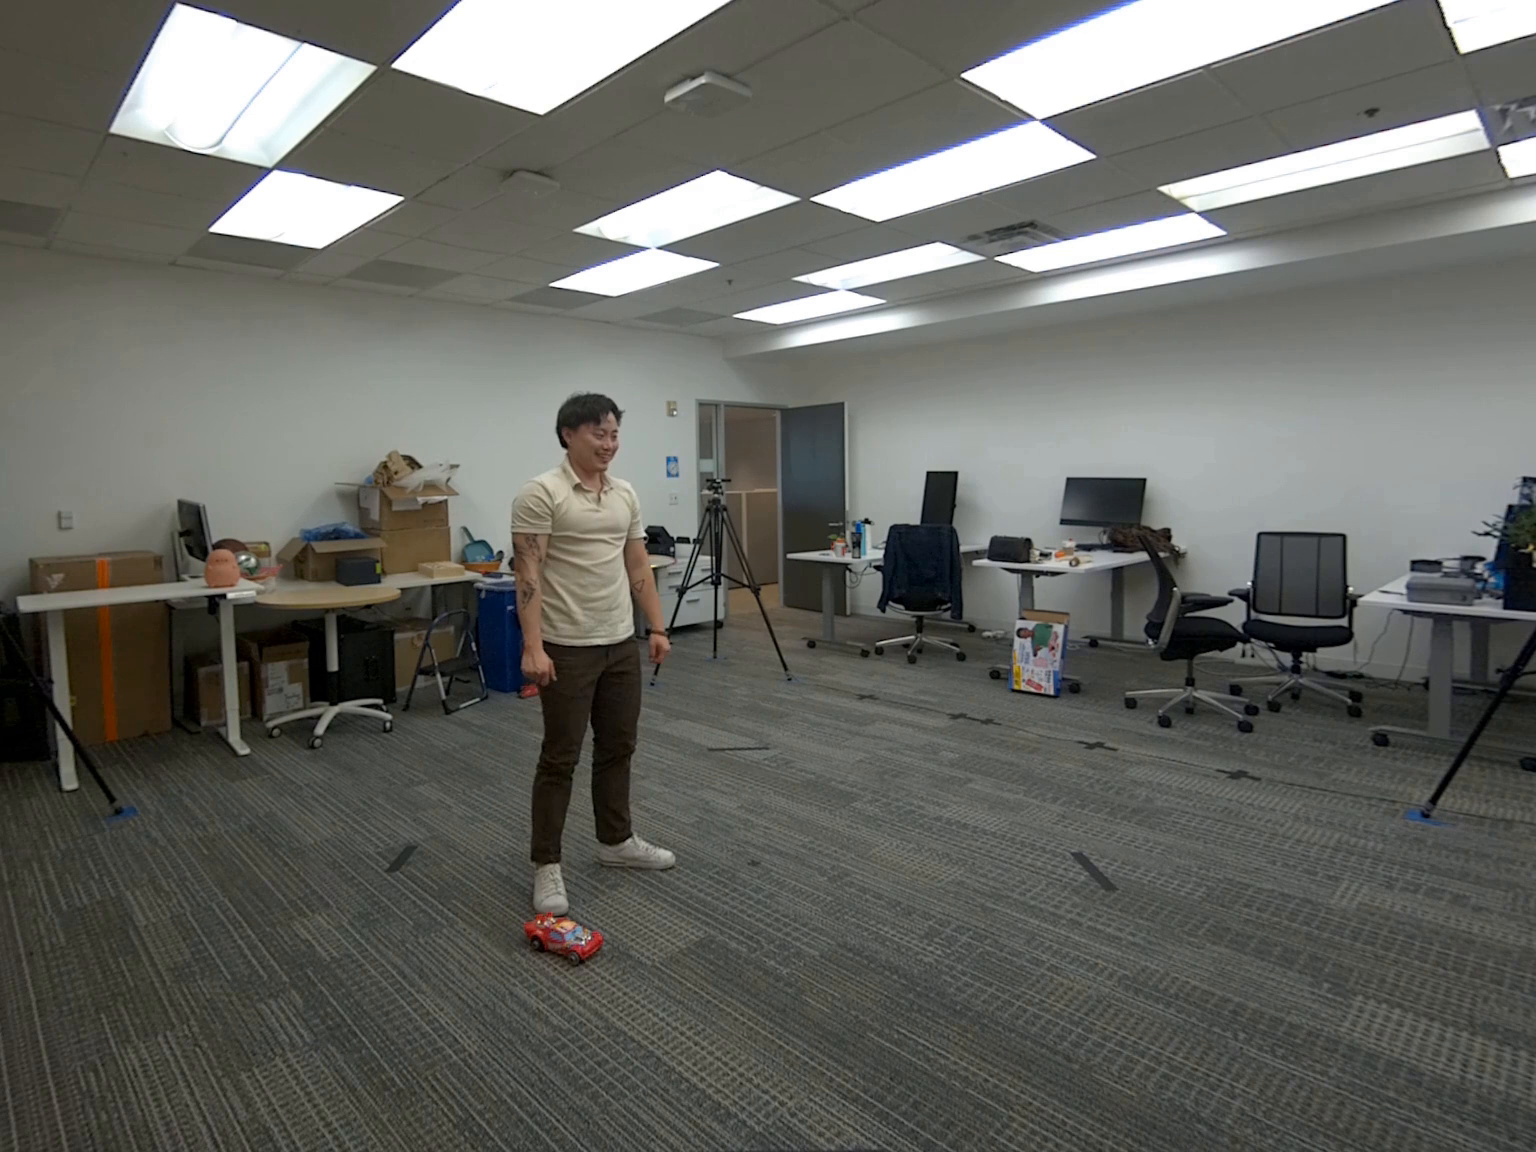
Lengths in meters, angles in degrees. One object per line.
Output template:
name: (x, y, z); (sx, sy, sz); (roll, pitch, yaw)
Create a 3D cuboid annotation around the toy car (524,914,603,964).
toy car: (-0.621, 1.093, 2.563); (0.262, 0.082, 0.128); (14, 13, 28)
